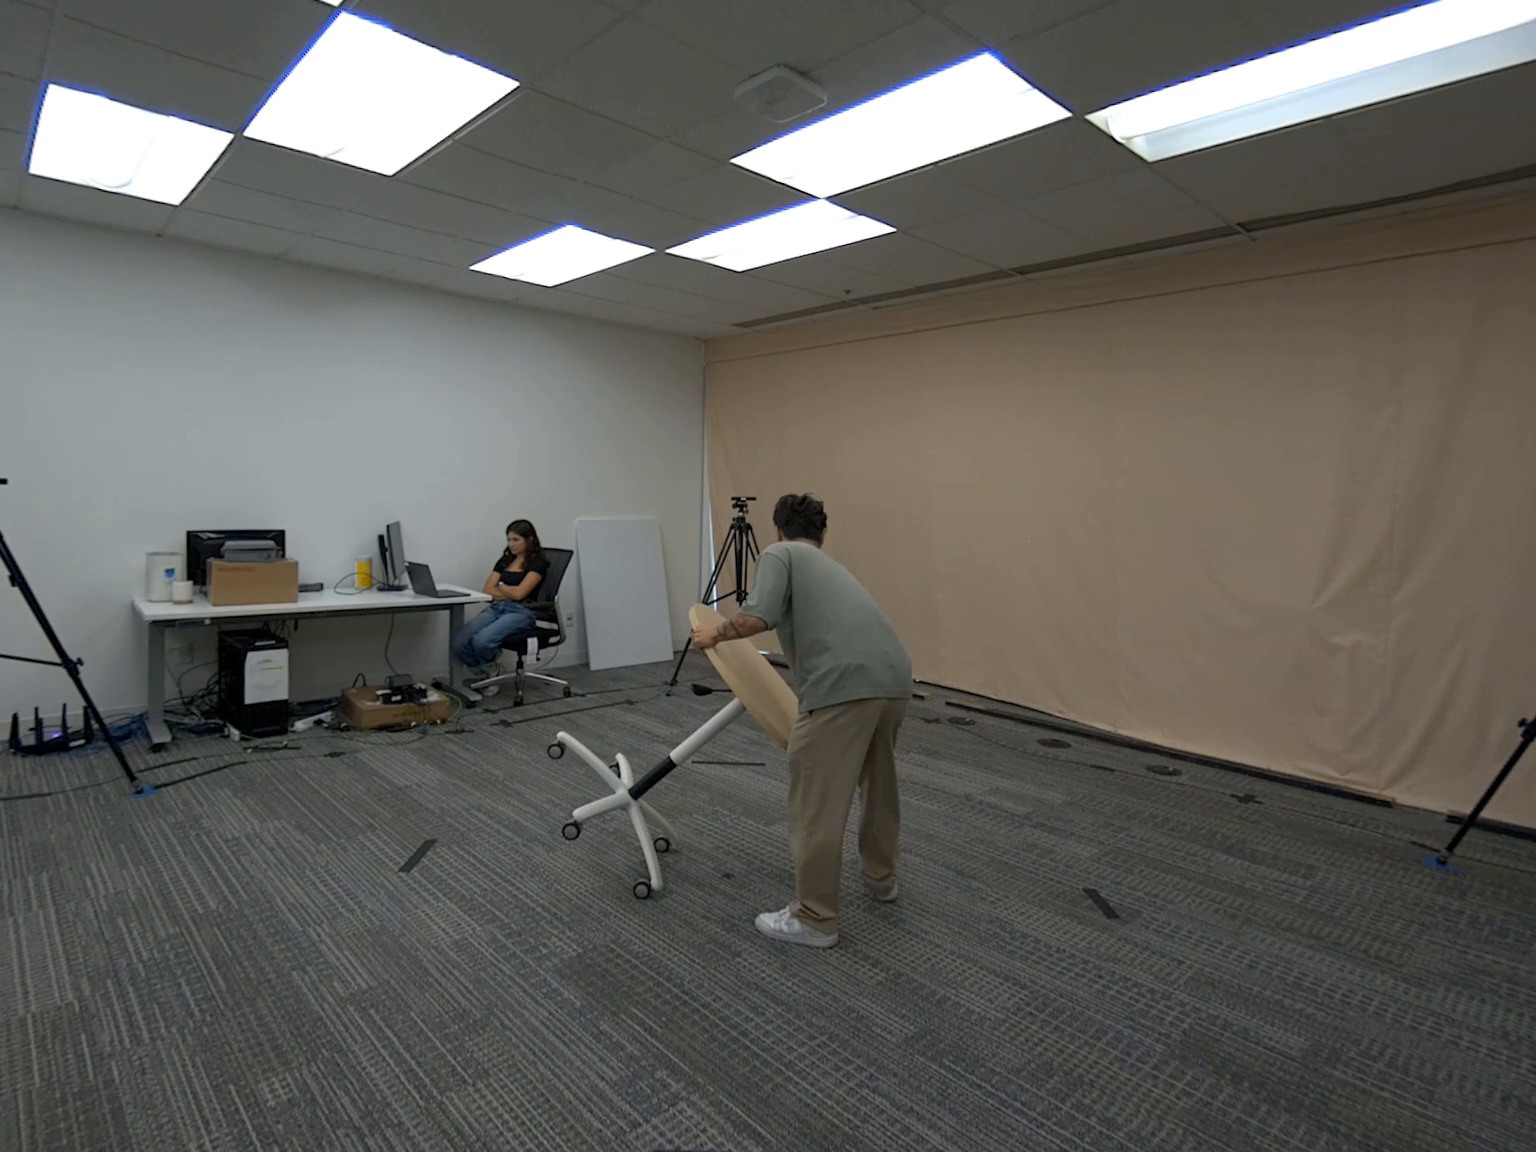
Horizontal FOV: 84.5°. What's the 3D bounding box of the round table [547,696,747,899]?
[{"bbox_3d":[-0.323,0.642,3.095,0.787,0.785,0.785,-40,1,5],"label":"round table"}]
